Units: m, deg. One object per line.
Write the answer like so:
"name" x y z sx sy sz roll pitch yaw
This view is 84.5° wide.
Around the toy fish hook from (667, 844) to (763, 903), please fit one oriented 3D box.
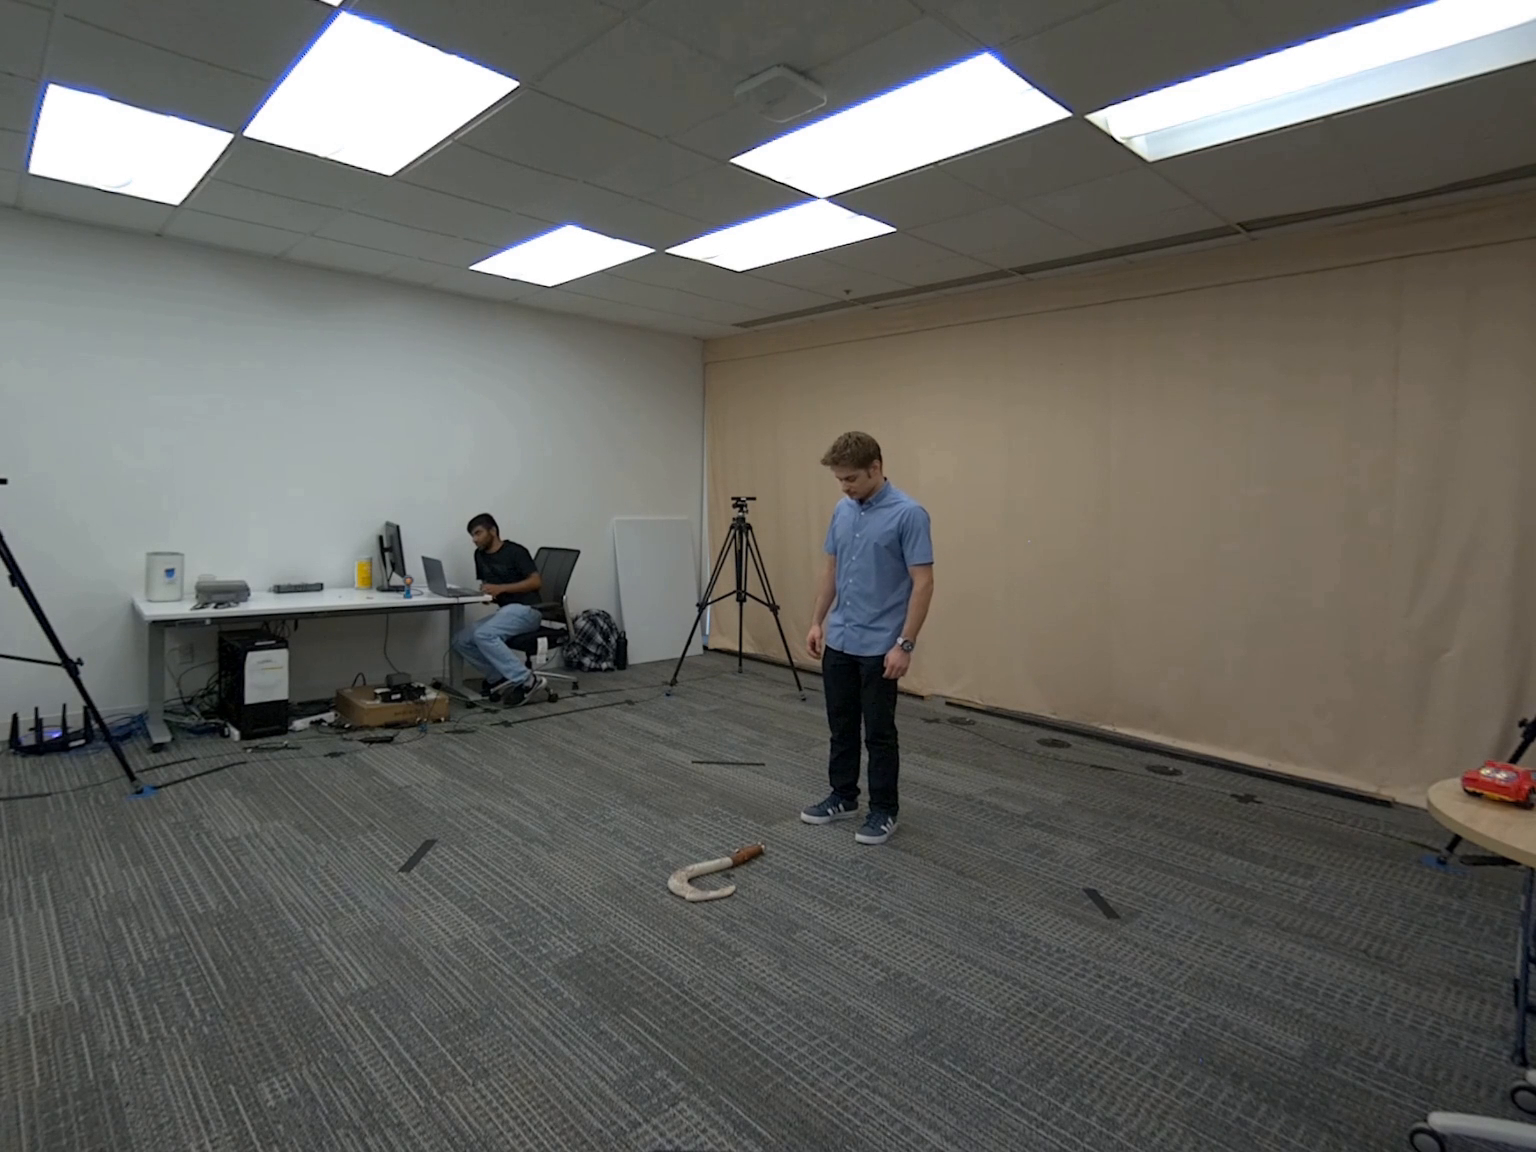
"toy fish hook" -0.150 1.092 3.102 0.231 0.048 0.495 16 15 40
